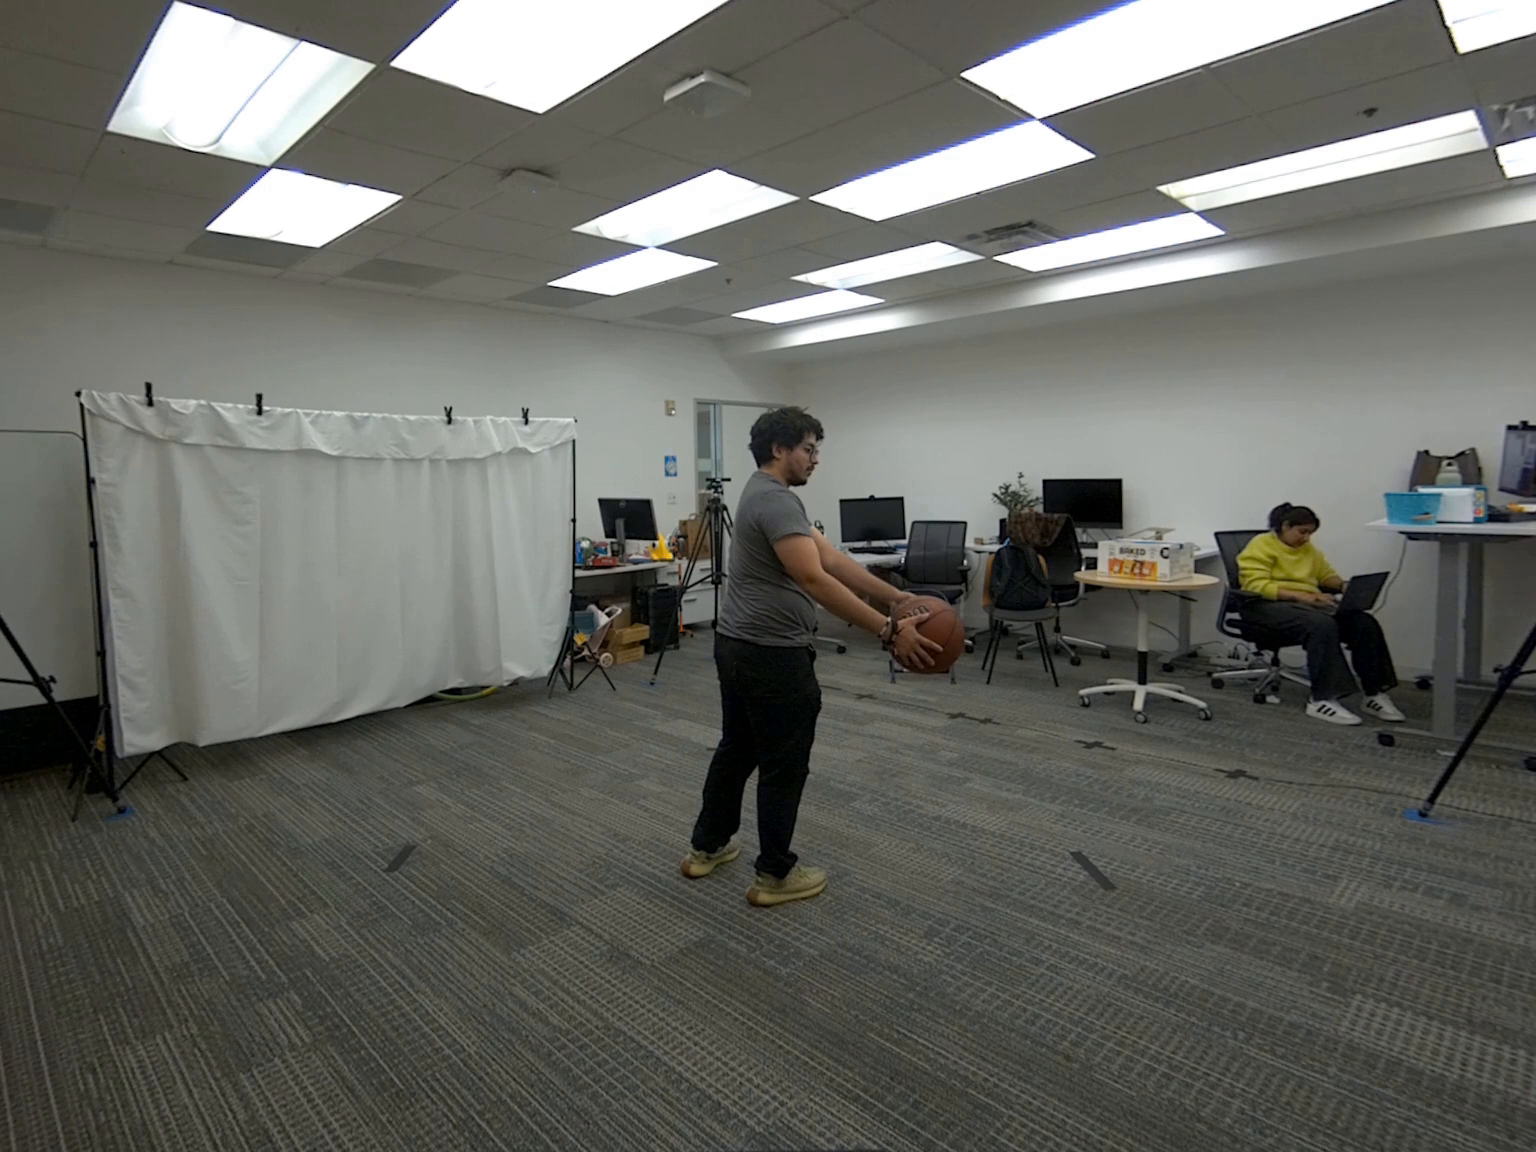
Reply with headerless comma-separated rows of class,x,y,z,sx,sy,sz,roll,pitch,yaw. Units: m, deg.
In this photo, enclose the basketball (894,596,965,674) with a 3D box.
basketball,0.474,0.184,2.609,0.236,0.235,0.237,-1,5,-2
